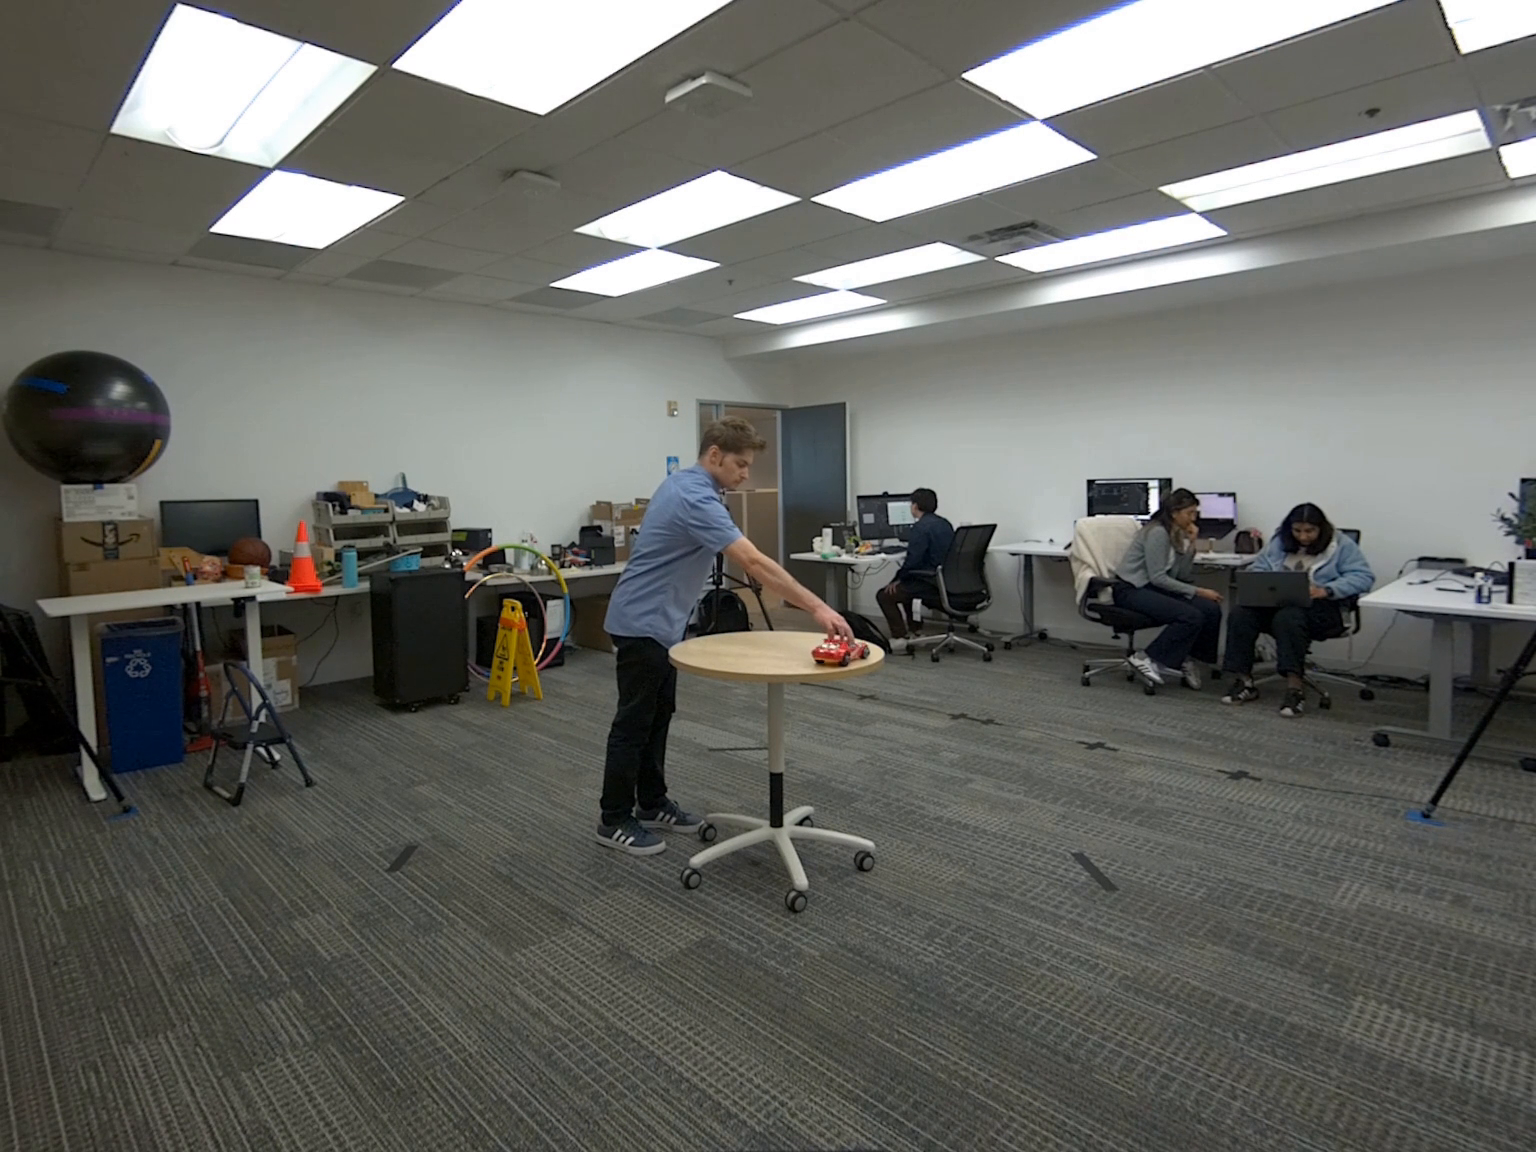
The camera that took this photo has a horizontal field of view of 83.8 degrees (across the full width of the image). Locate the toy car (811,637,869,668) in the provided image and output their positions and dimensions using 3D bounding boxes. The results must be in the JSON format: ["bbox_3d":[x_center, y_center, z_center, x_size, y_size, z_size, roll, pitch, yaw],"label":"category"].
[{"bbox_3d":[0.244,0.257,2.848,0.134,0.083,0.246,3,-4,33],"label":"toy car"}]
